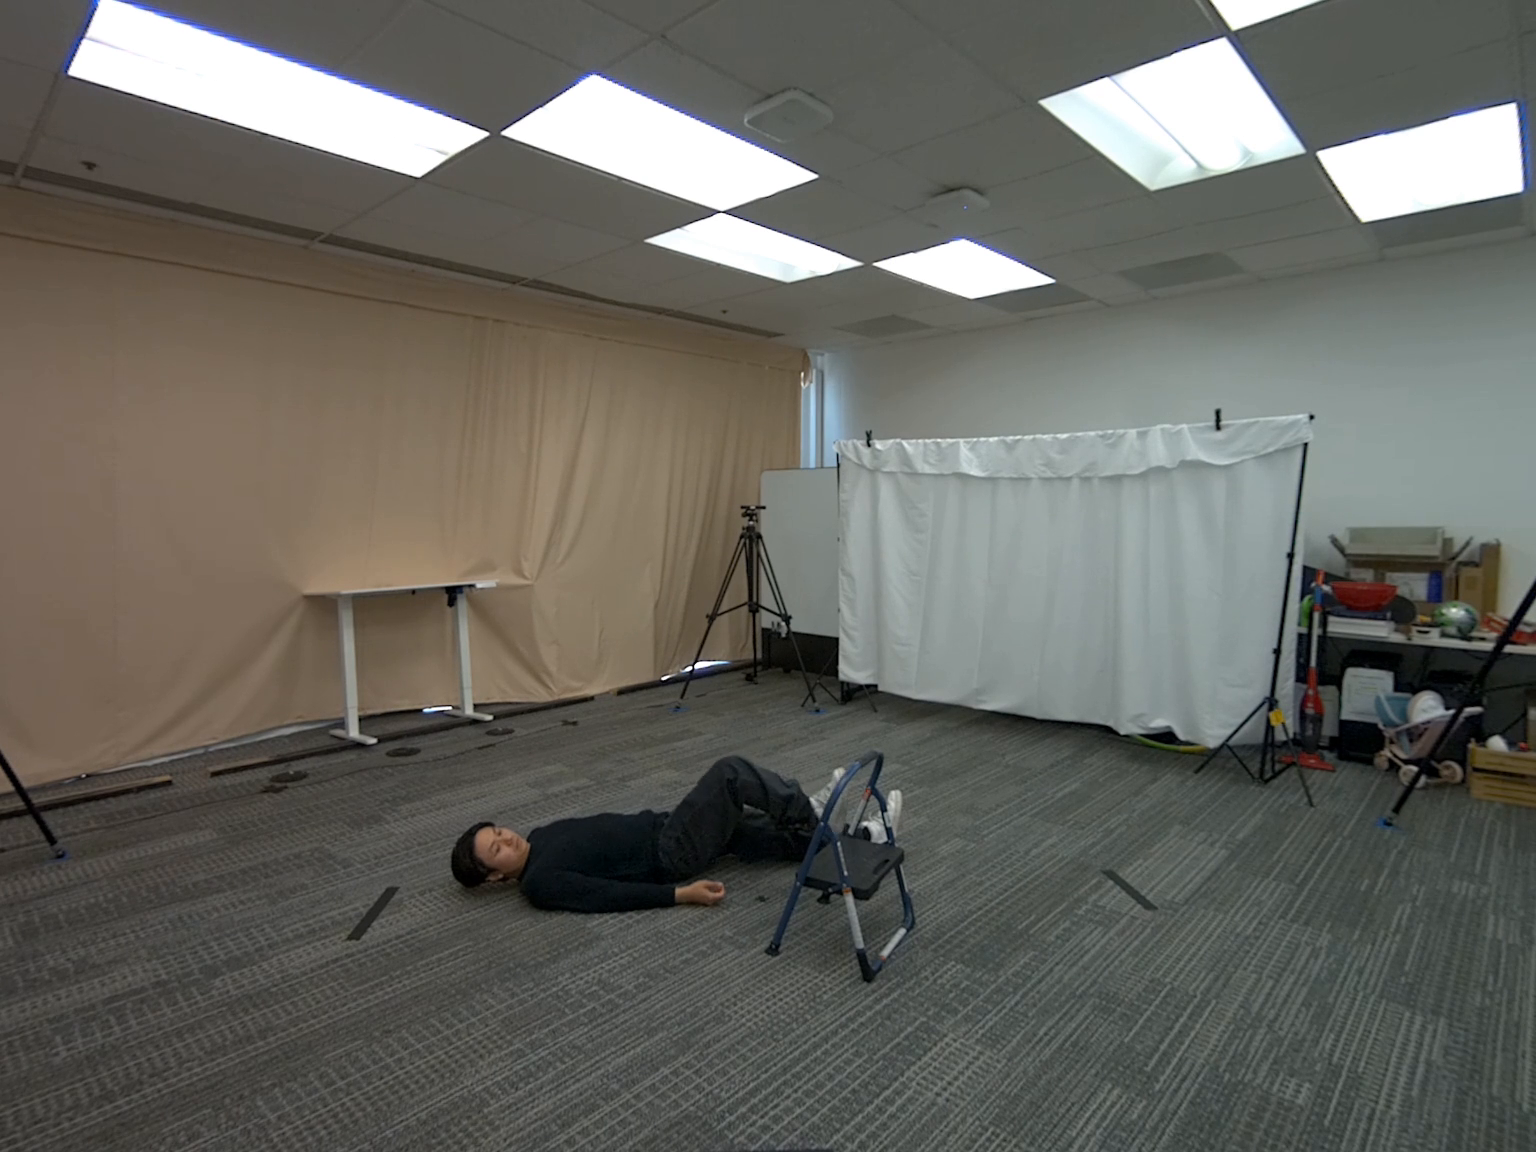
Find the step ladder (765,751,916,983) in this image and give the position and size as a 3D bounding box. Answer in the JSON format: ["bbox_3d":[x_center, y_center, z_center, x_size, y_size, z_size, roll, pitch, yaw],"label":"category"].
[{"bbox_3d":[0.247,0.863,2.695,0.359,0.605,0.419,1,4,29],"label":"step ladder"}]
